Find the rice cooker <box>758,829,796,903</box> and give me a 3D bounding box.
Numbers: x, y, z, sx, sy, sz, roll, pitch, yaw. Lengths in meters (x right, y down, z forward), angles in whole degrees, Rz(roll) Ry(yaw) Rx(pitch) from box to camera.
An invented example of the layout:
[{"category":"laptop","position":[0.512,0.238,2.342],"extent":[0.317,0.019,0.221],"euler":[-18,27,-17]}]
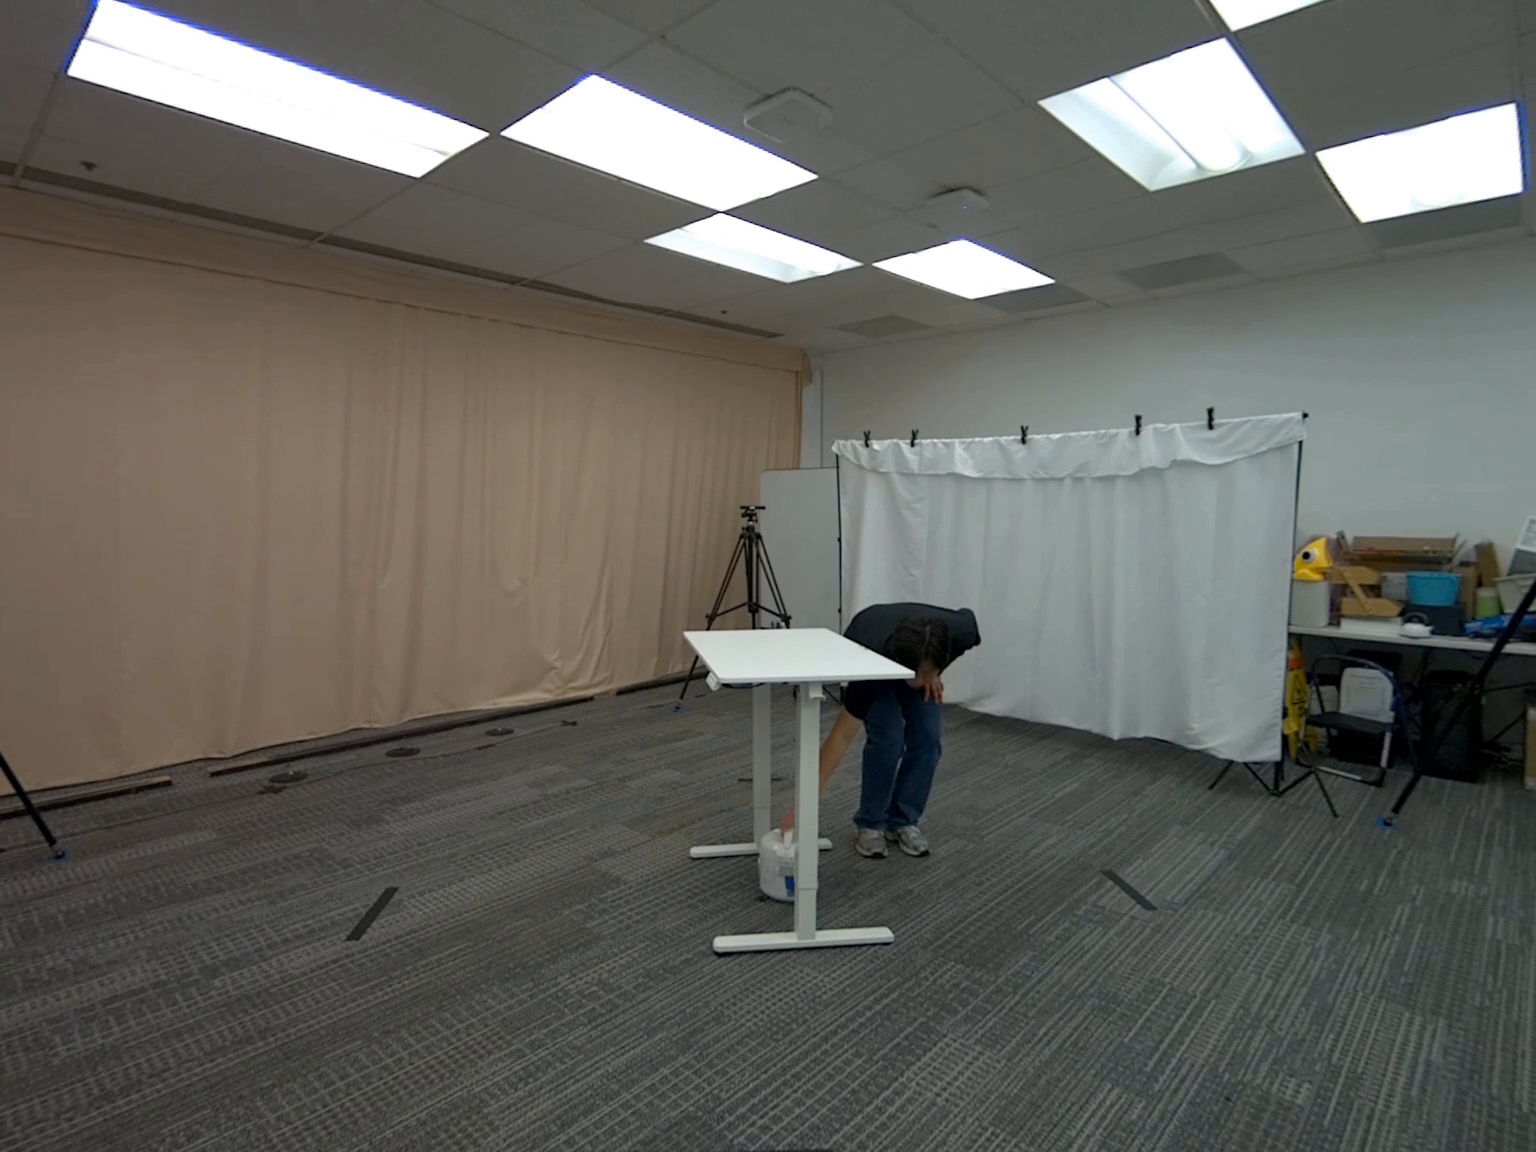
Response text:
[{"category":"rice cooker","position":[0.082,1.022,3.021],"extent":[0.220,0.232,0.219],"euler":[2,4,9]}]
